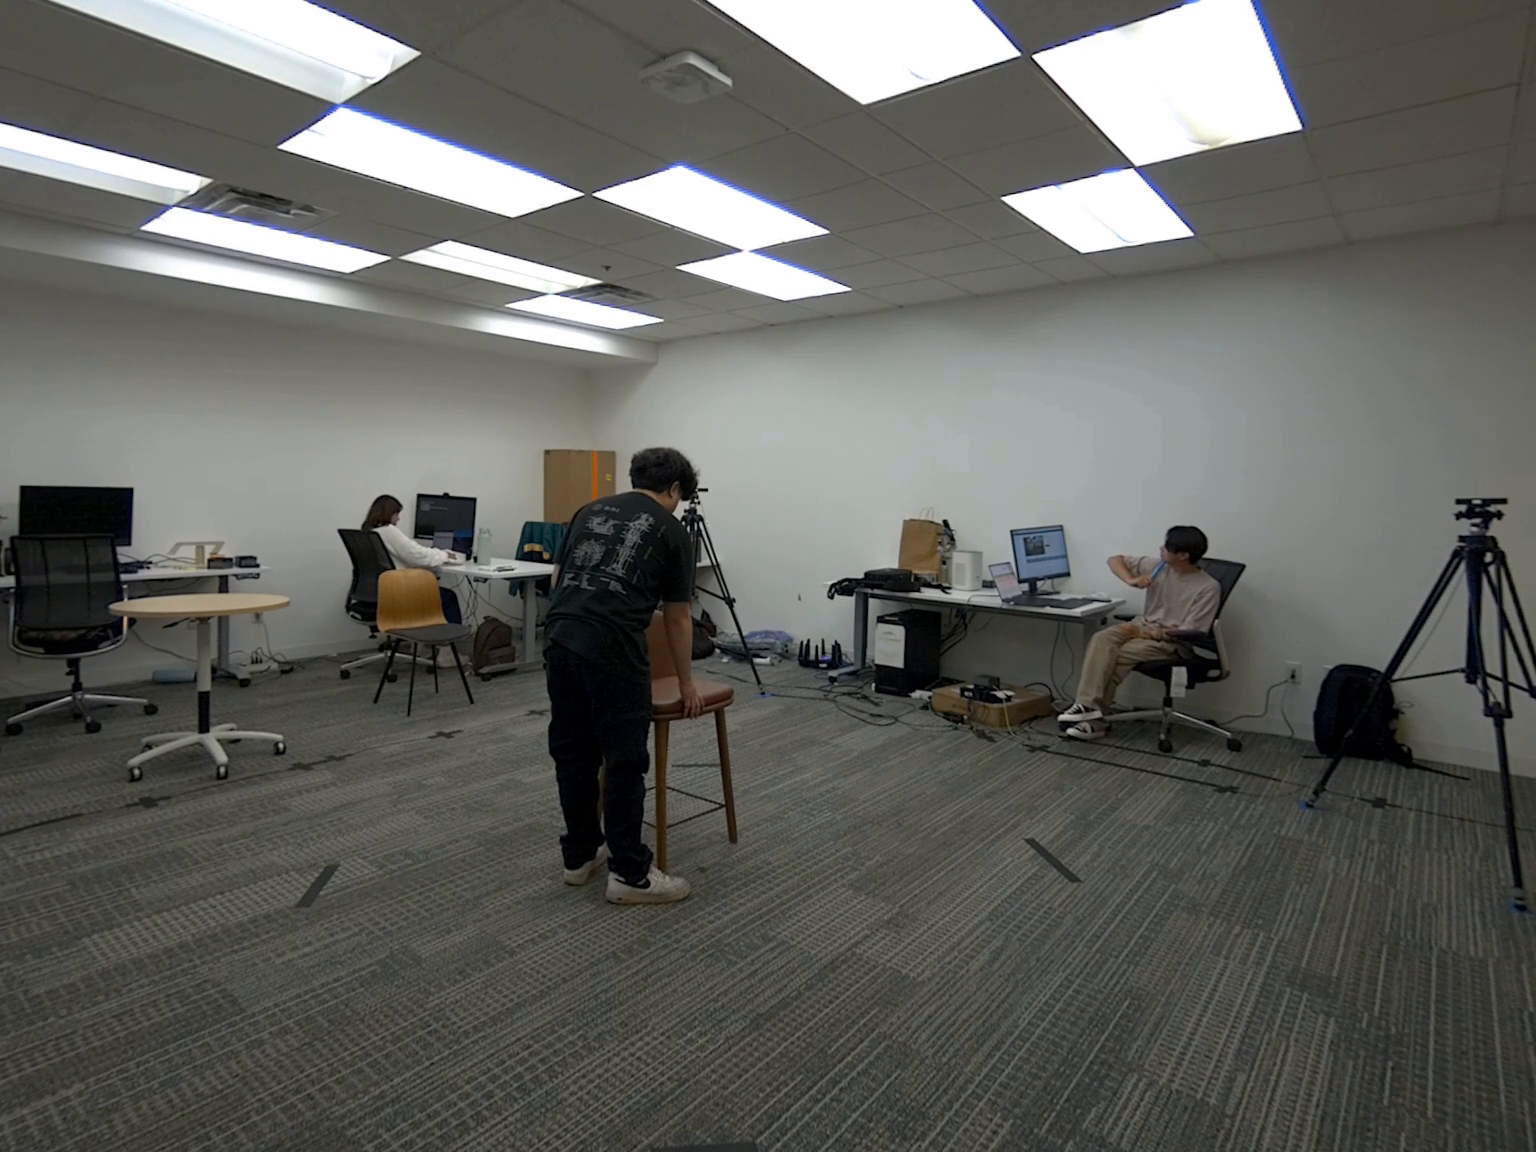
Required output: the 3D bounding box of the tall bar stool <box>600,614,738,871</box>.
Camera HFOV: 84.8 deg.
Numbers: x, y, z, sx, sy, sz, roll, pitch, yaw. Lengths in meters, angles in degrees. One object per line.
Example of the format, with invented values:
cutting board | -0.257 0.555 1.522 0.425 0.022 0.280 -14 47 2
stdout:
tall bar stool | -0.426 0.604 3.355 0.482 0.889 0.442 0 1 44
